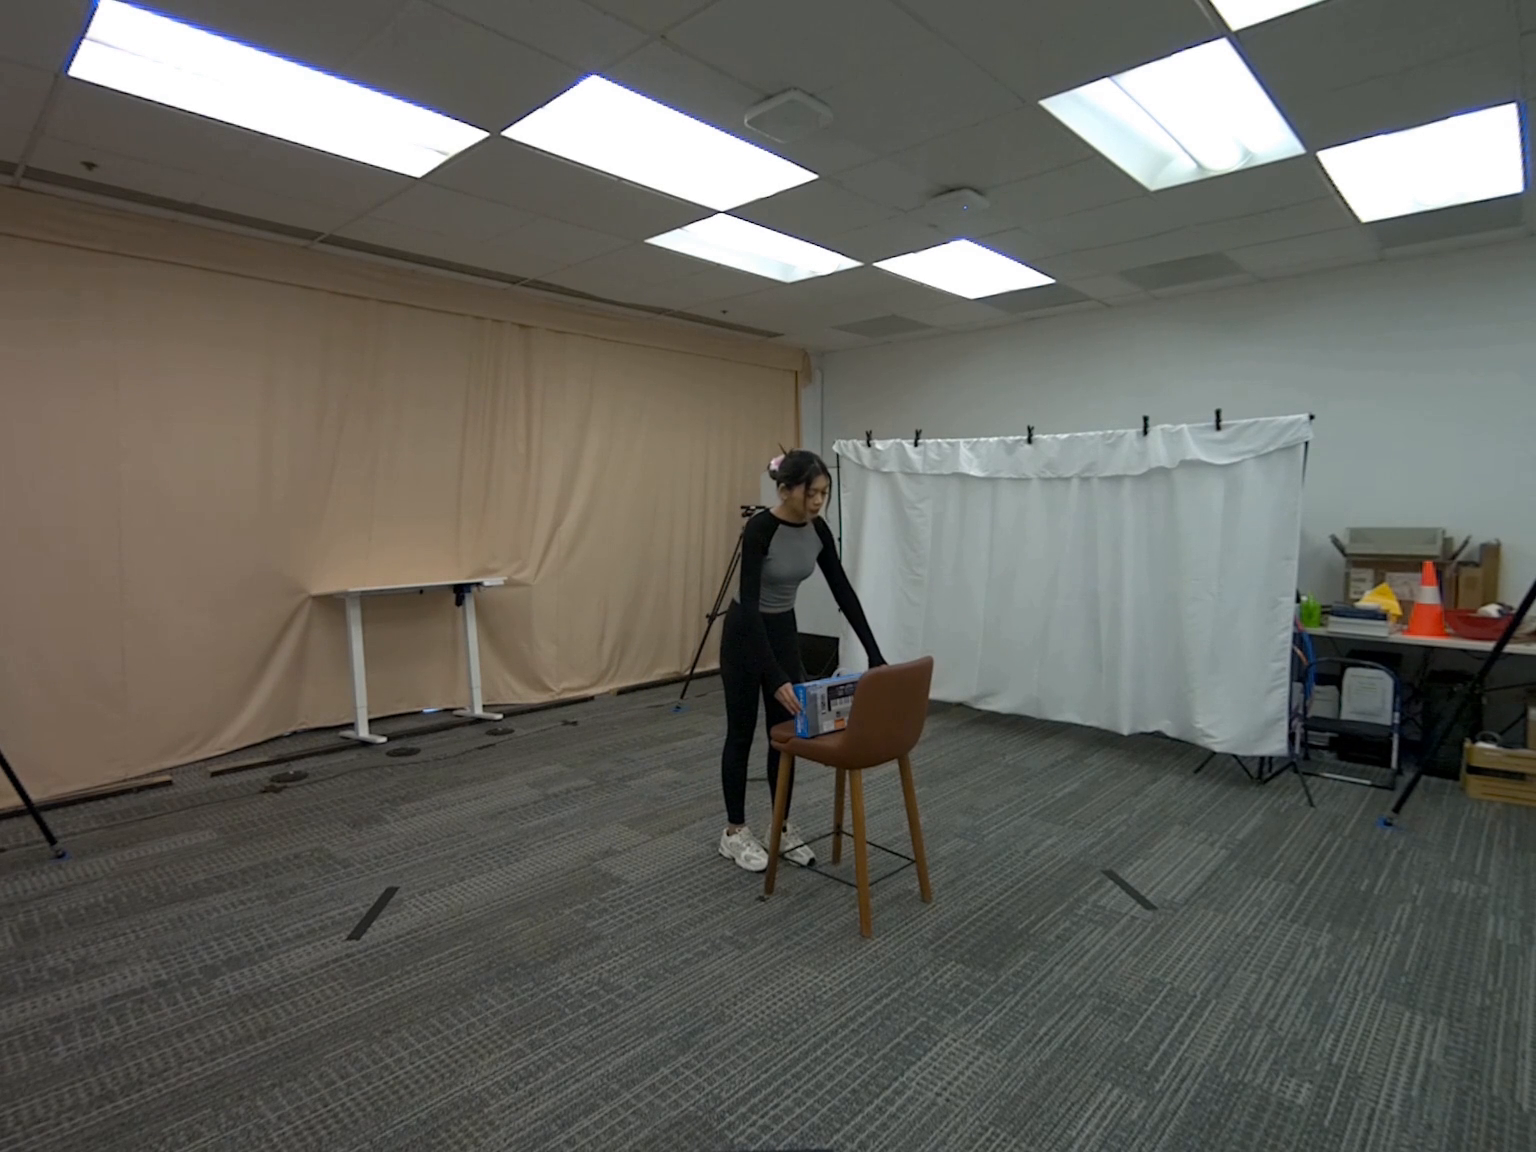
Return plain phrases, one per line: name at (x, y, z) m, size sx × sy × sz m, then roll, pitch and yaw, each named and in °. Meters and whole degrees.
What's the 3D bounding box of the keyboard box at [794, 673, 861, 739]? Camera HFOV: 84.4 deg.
keyboard box at (0.275, 0.444, 2.967) m, size 0.423 × 0.176 × 0.061 m, roll -4°, pitch 0°, yaw -40°
